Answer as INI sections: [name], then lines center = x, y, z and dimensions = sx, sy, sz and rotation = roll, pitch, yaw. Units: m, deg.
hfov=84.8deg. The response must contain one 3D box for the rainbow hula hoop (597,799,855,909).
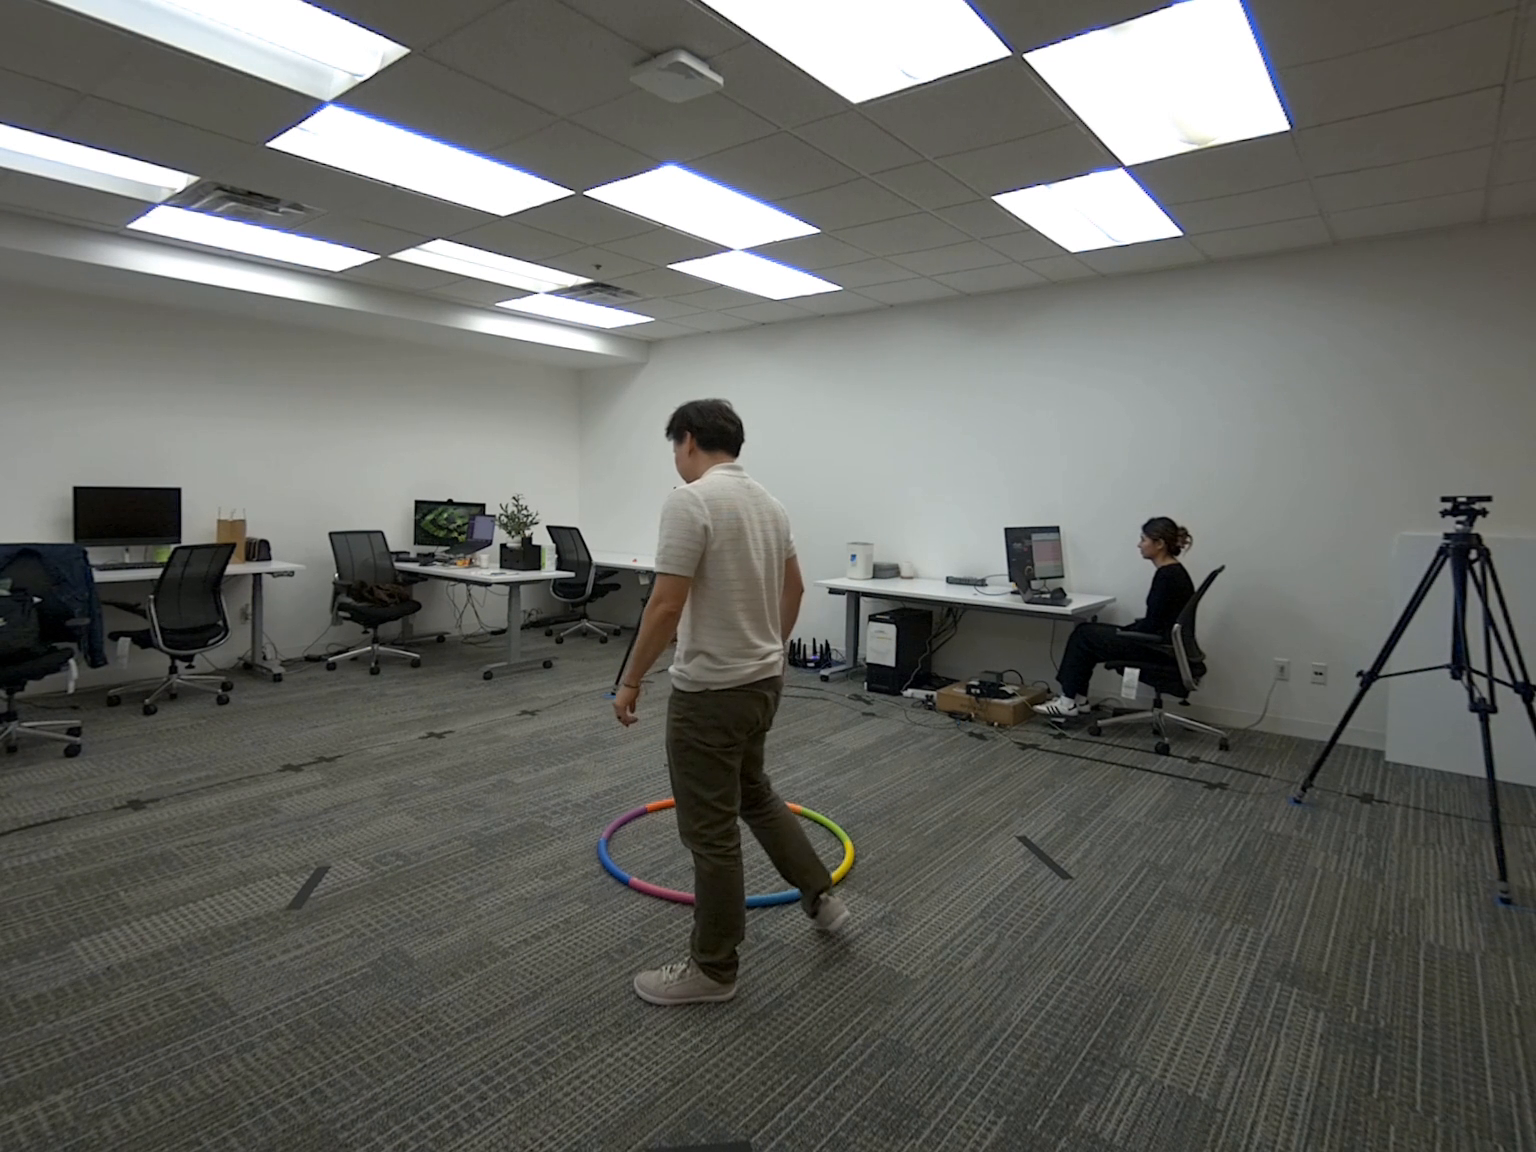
[rainbow hula hoop]
center = -0.176, 1.019, 3.294
dimensions = 0.978, 0.035, 0.984
rotation = 0, 6, -2
